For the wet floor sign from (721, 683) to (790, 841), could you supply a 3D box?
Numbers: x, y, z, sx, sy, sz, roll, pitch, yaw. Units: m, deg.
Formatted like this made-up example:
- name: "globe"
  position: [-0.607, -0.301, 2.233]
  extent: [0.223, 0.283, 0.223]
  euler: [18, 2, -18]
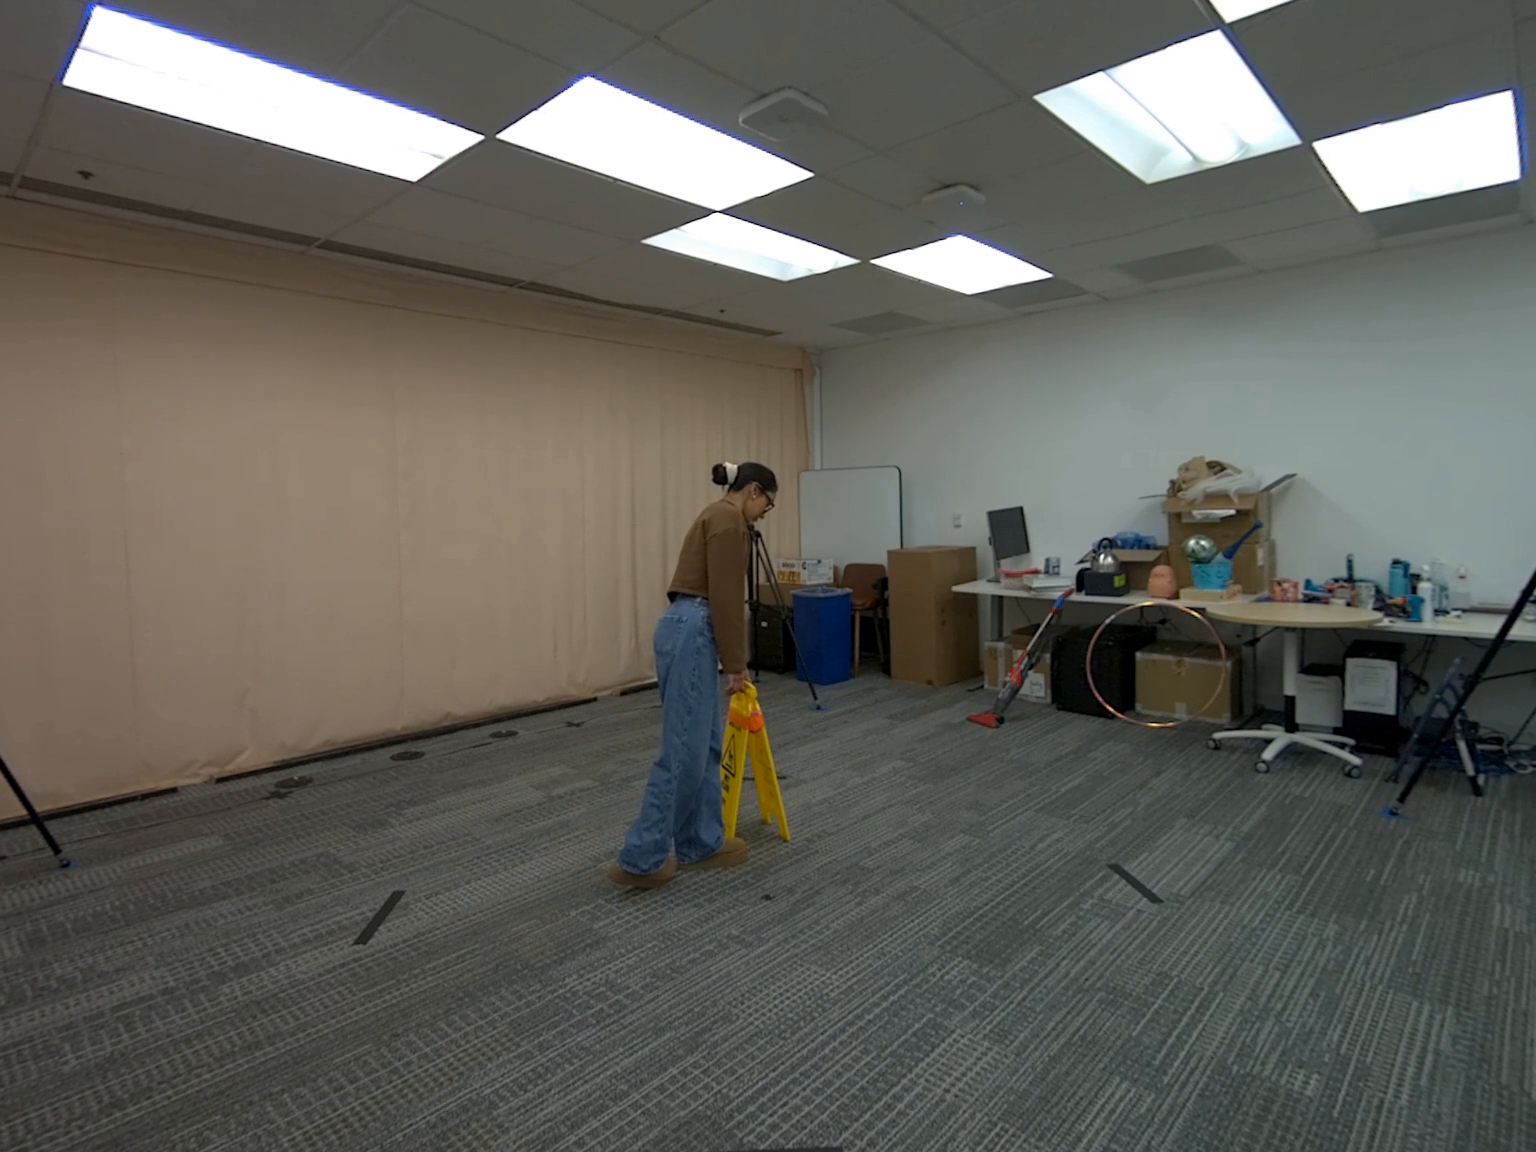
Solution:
- name: "wet floor sign"
  position: [-0.089, 0.766, 3.541]
  extent: [0.284, 0.645, 0.288]
  euler: [-2, 3, -22]
